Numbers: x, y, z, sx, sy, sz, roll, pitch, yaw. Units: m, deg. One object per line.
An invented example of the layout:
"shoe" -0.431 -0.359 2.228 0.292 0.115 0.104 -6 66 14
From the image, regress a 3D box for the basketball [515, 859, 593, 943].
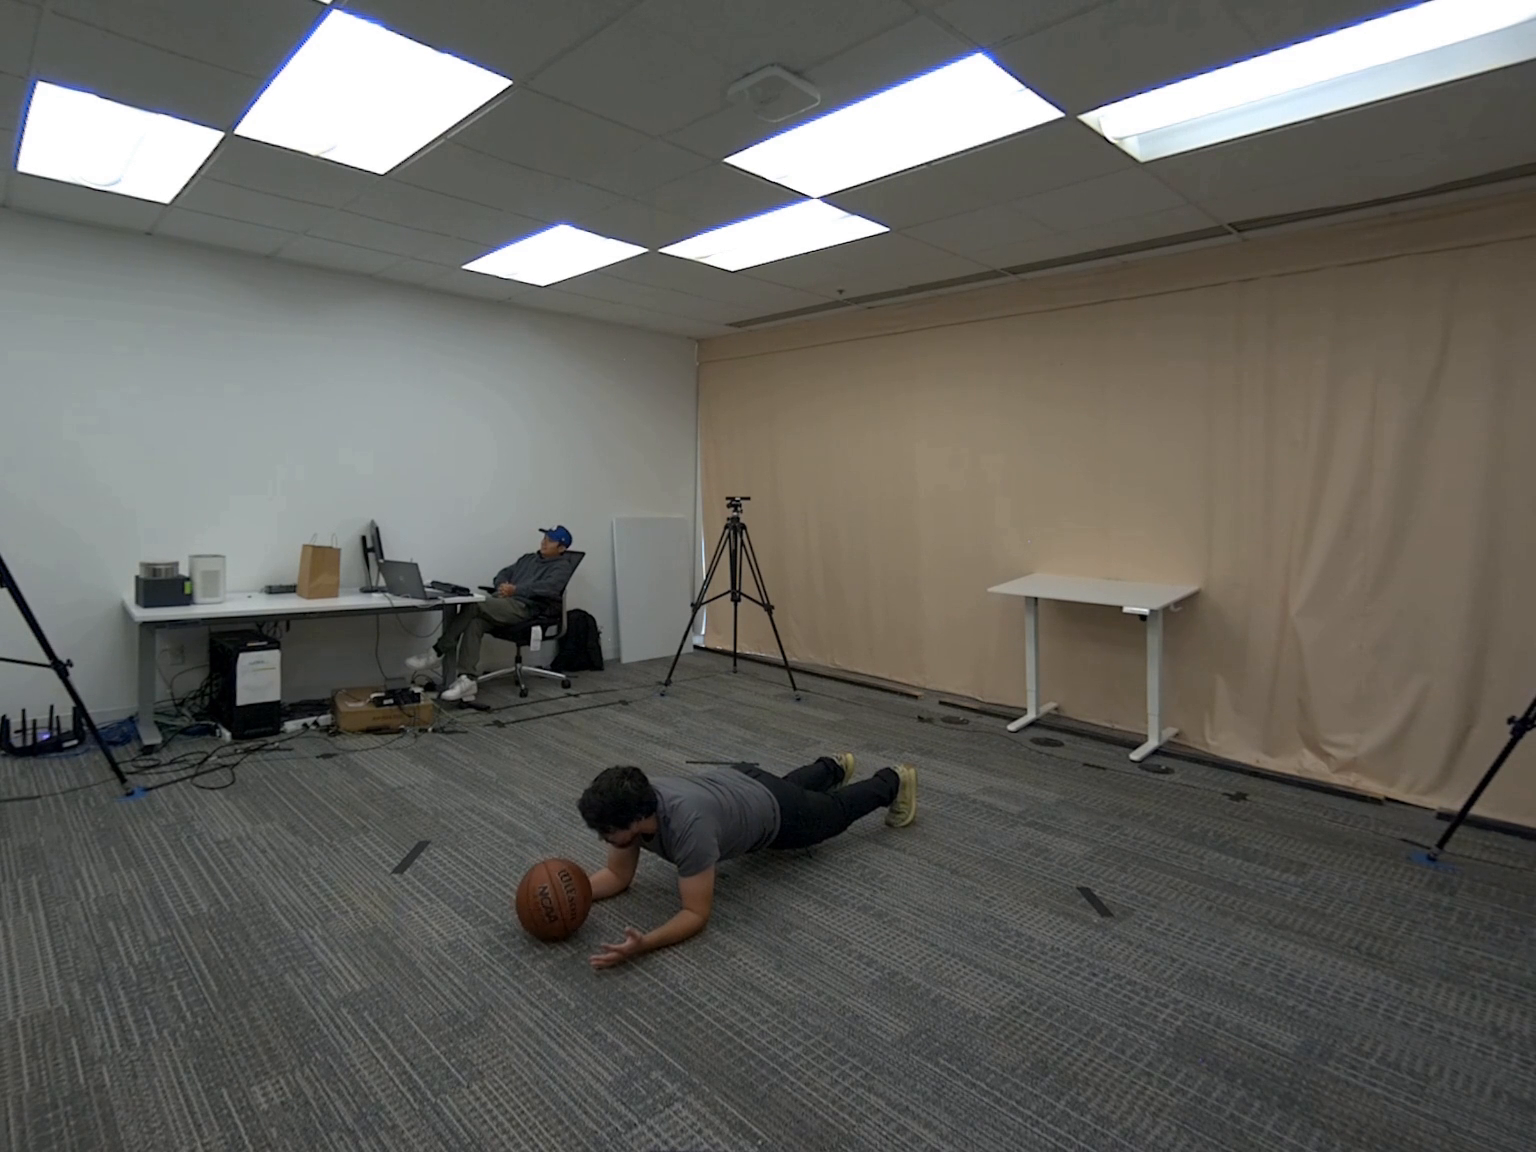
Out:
"basketball" -0.673 1.013 2.654 0.236 0.235 0.237 1 4 -1
